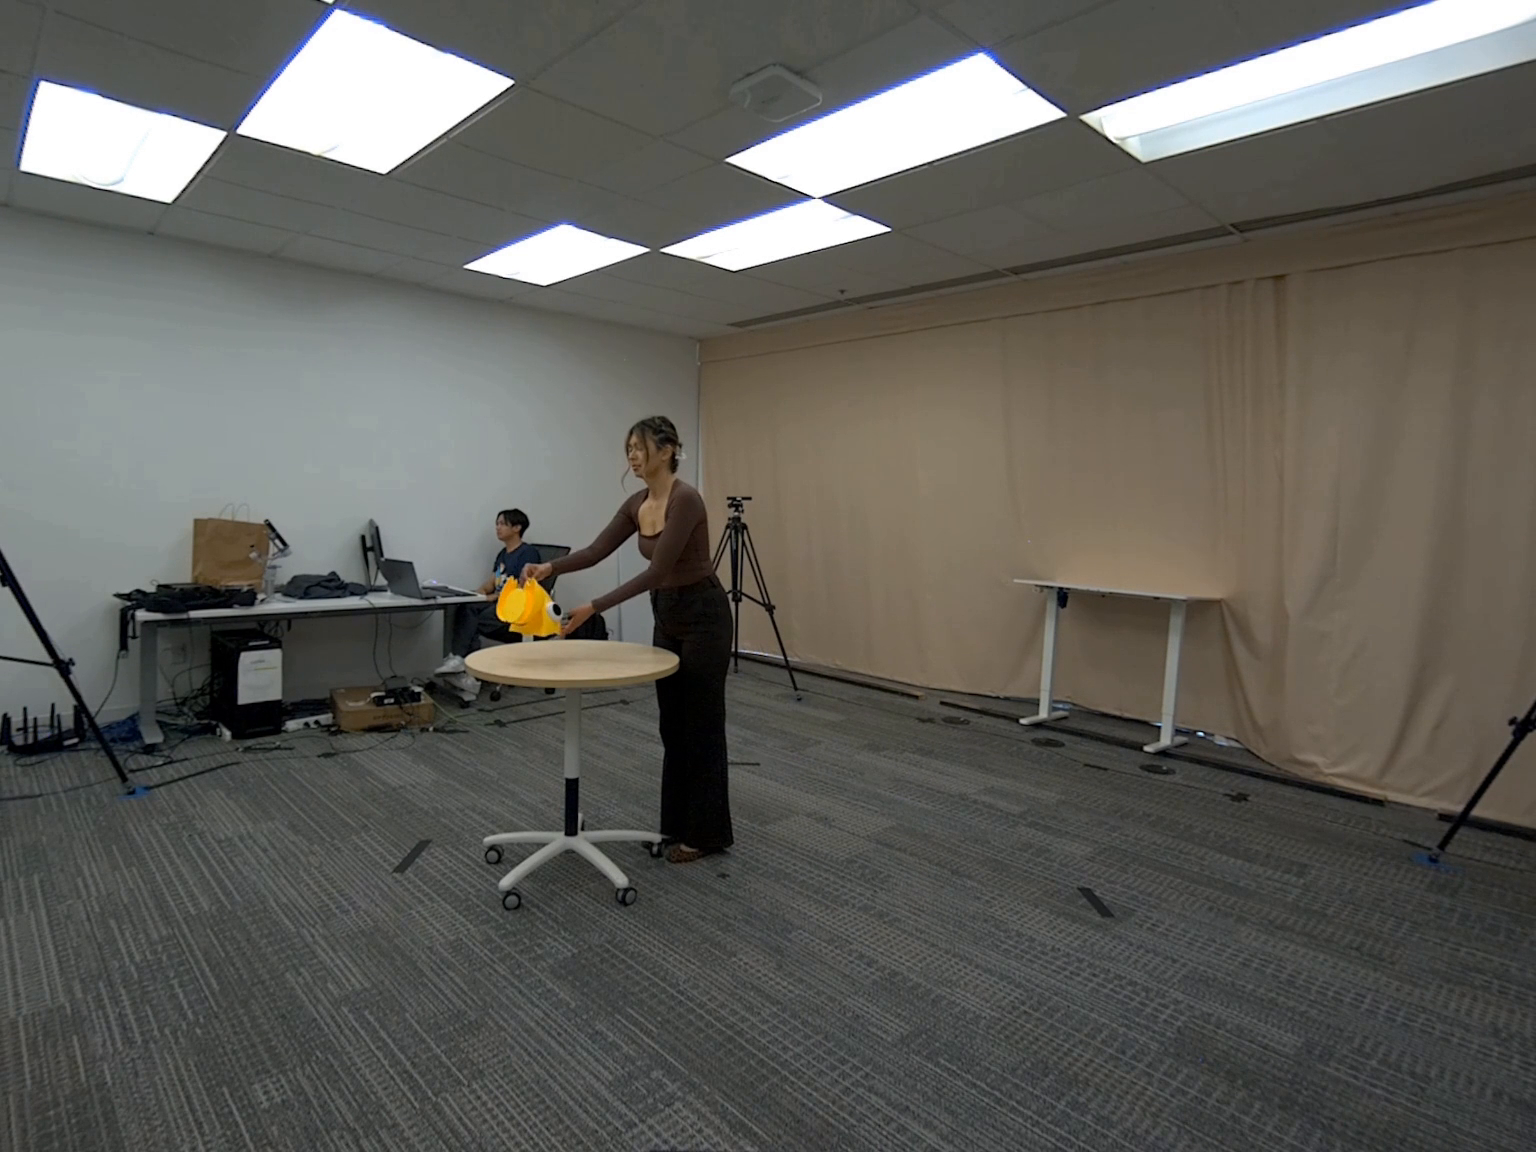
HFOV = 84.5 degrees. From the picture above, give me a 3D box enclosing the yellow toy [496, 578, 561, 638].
[{"bbox_3d":[-0.812,0.124,2.974,0.210,0.194,0.223,3,-14,41],"label":"yellow toy"}]
